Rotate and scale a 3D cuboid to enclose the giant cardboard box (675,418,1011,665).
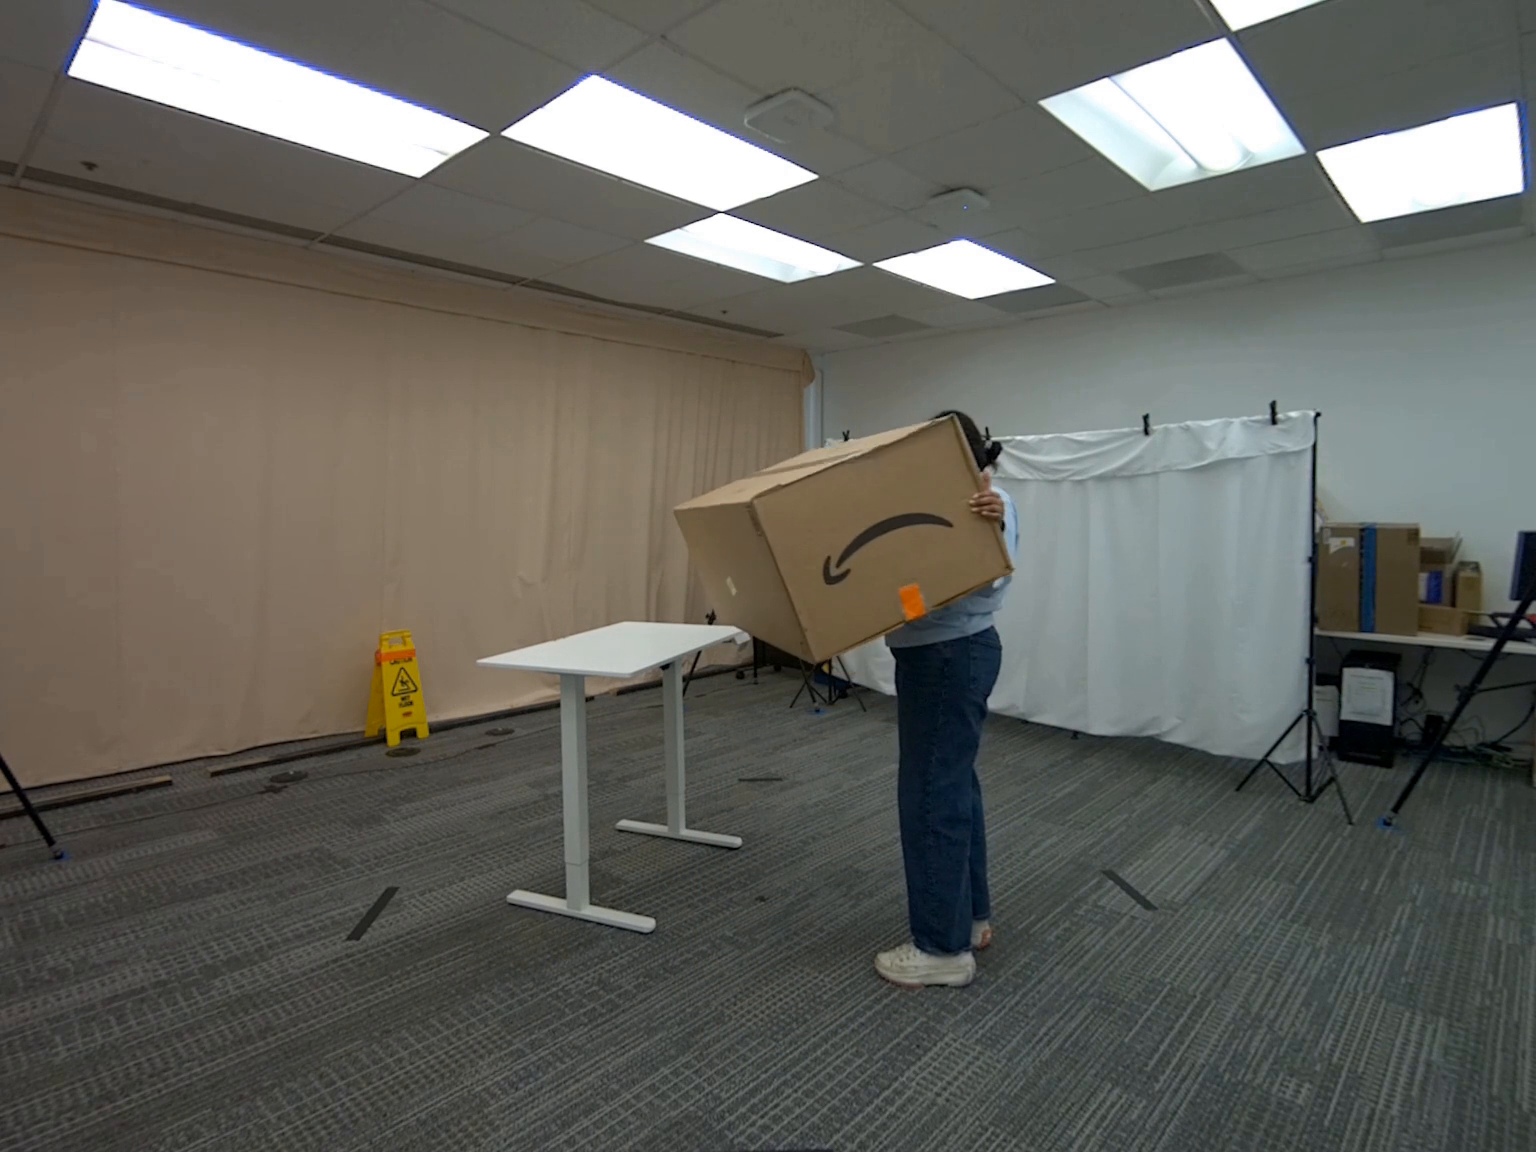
[{"bbox_3d":[0.144,-0.118,2.527,0.572,0.423,1.043,-23,9,-14],"label":"giant cardboard box"}]
